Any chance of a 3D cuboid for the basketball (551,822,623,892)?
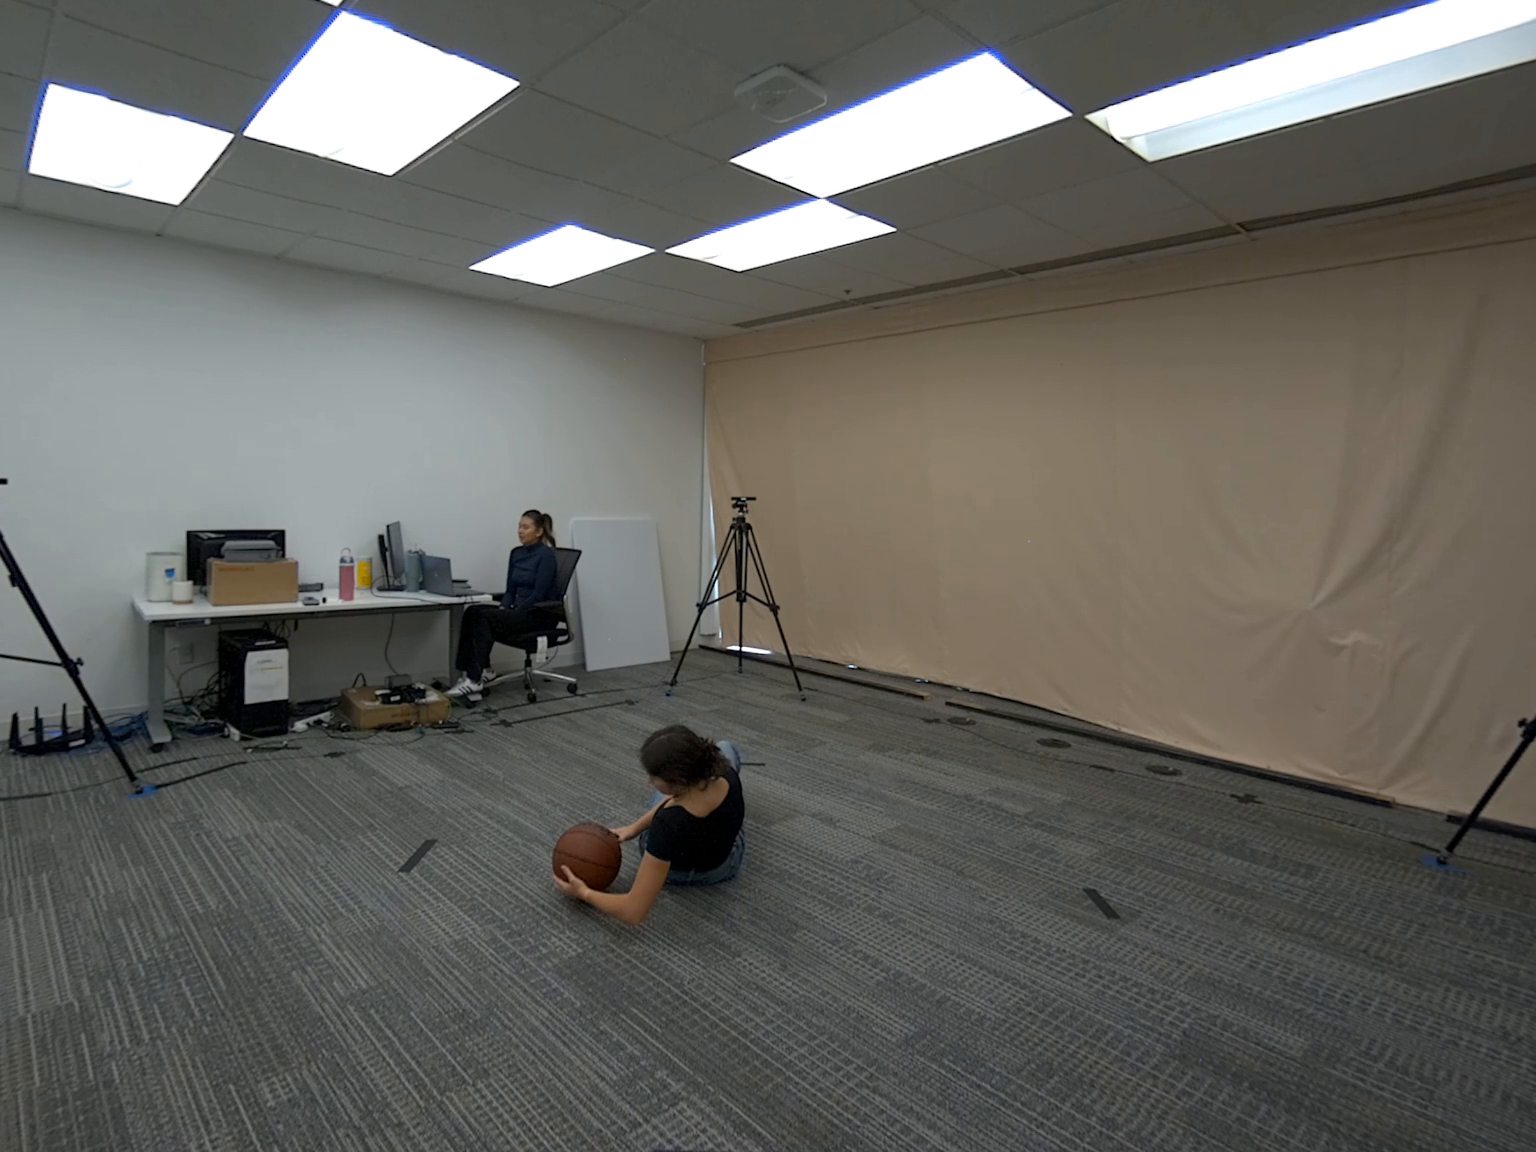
[{"bbox_3d":[-0.628,0.961,2.931,0.236,0.235,0.237,1,4,-1],"label":"basketball"}]
